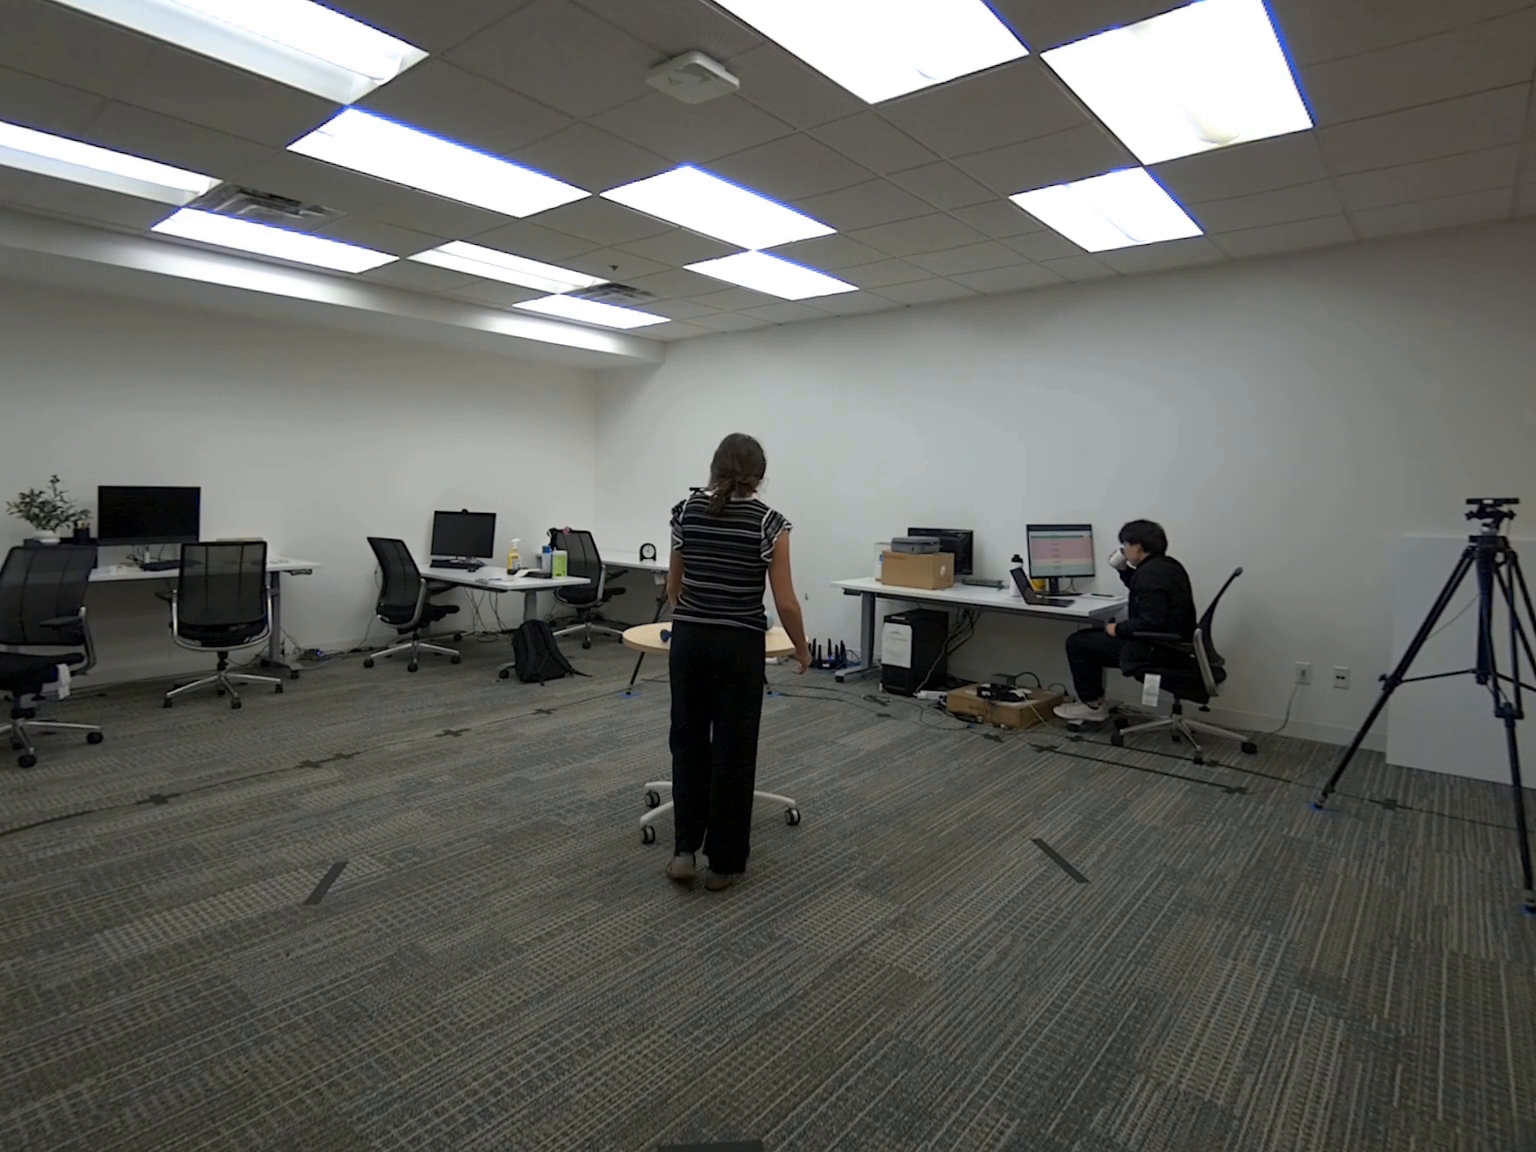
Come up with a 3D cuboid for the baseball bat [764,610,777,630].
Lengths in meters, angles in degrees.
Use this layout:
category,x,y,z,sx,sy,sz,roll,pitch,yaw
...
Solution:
category,x,y,z,sx,sy,sz,roll,pitch,yaw
baseball bat,-0.218,0.206,3.477,0.527,0.089,0.092,-4,6,-36
